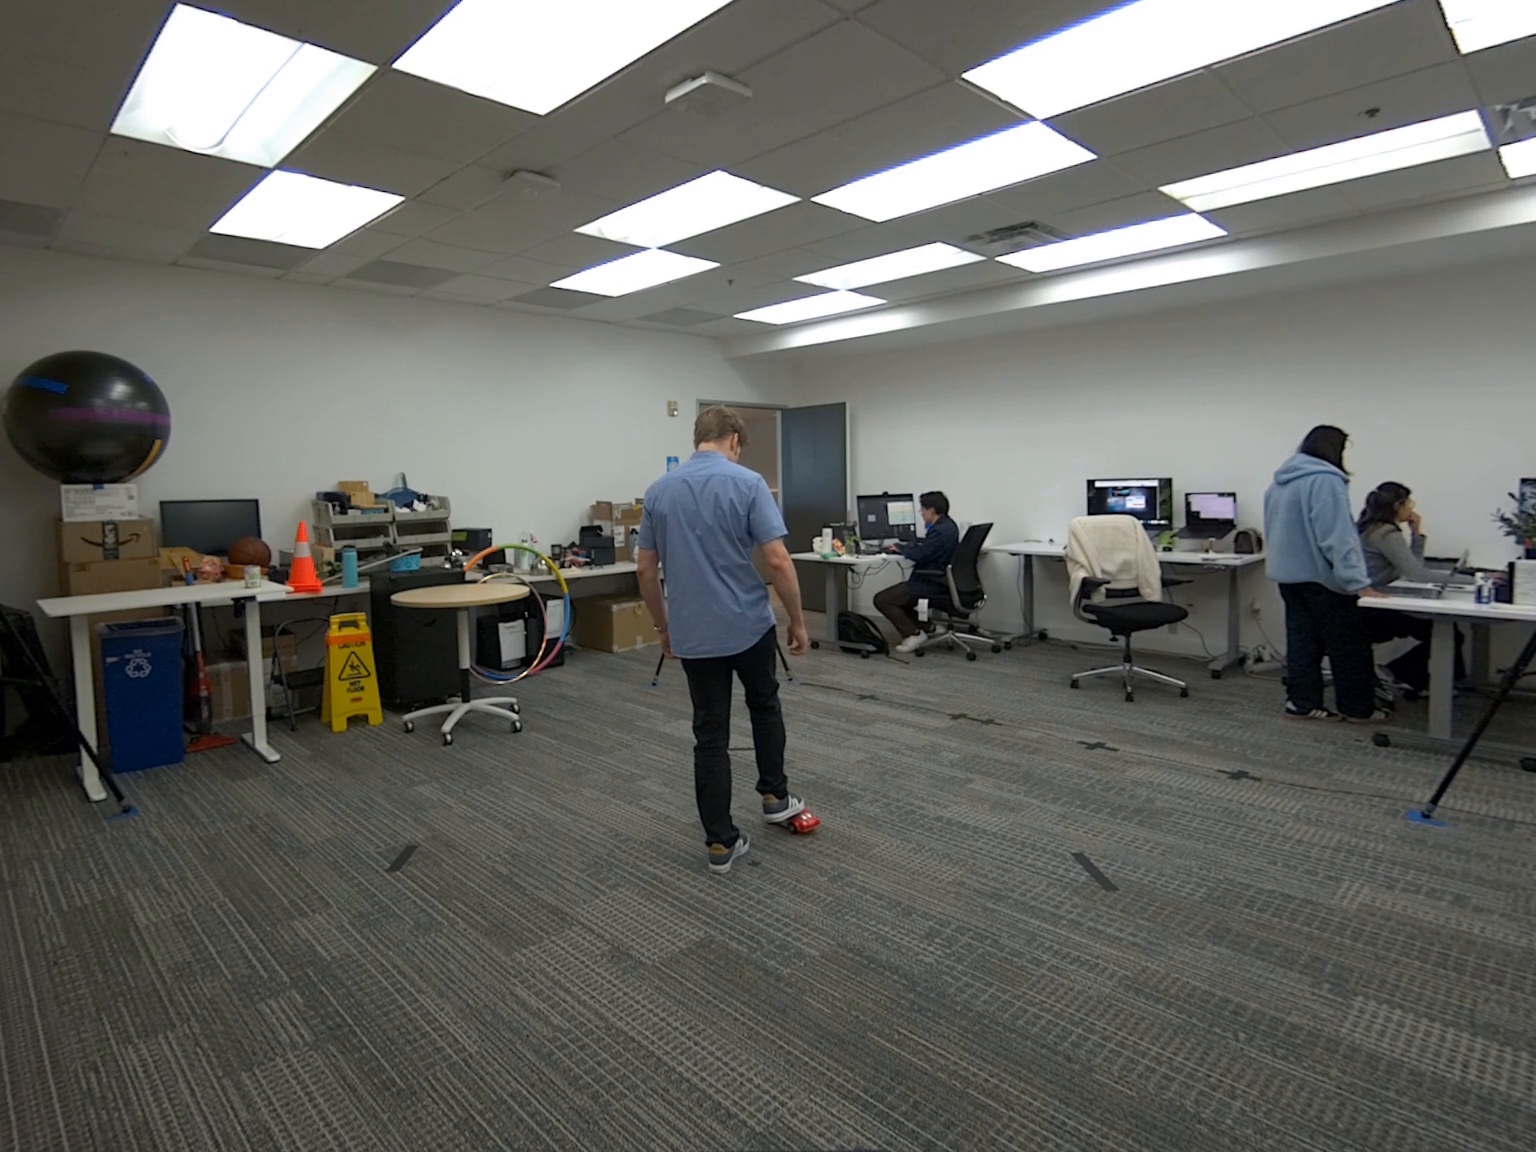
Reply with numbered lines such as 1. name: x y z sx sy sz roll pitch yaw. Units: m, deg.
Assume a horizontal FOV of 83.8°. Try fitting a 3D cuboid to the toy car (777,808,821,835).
1. toy car: 0.108 0.976 3.430 0.127 0.083 0.260 -5 -3 -40
